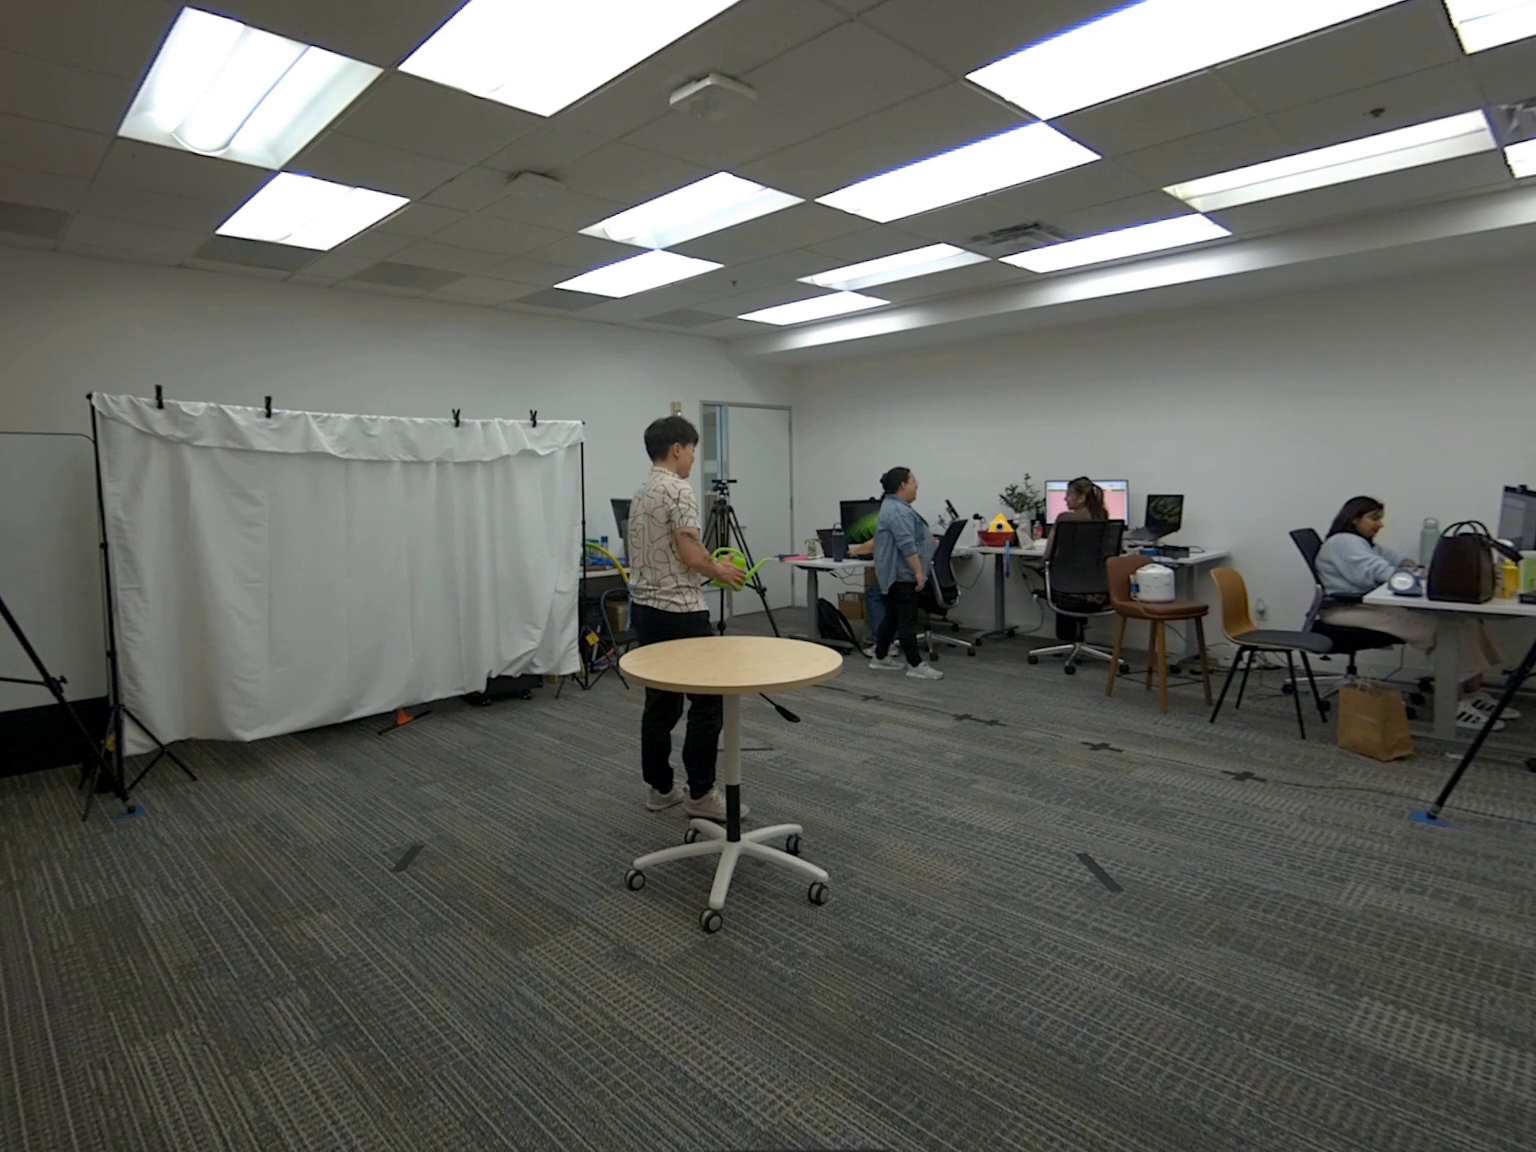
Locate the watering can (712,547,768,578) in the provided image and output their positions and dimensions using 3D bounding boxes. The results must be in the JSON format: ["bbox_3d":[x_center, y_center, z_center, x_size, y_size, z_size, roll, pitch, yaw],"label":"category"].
[{"bbox_3d":[-0.124,-0.018,3.745,0.278,0.178,0.098,11,-7,-2],"label":"watering can"}]
